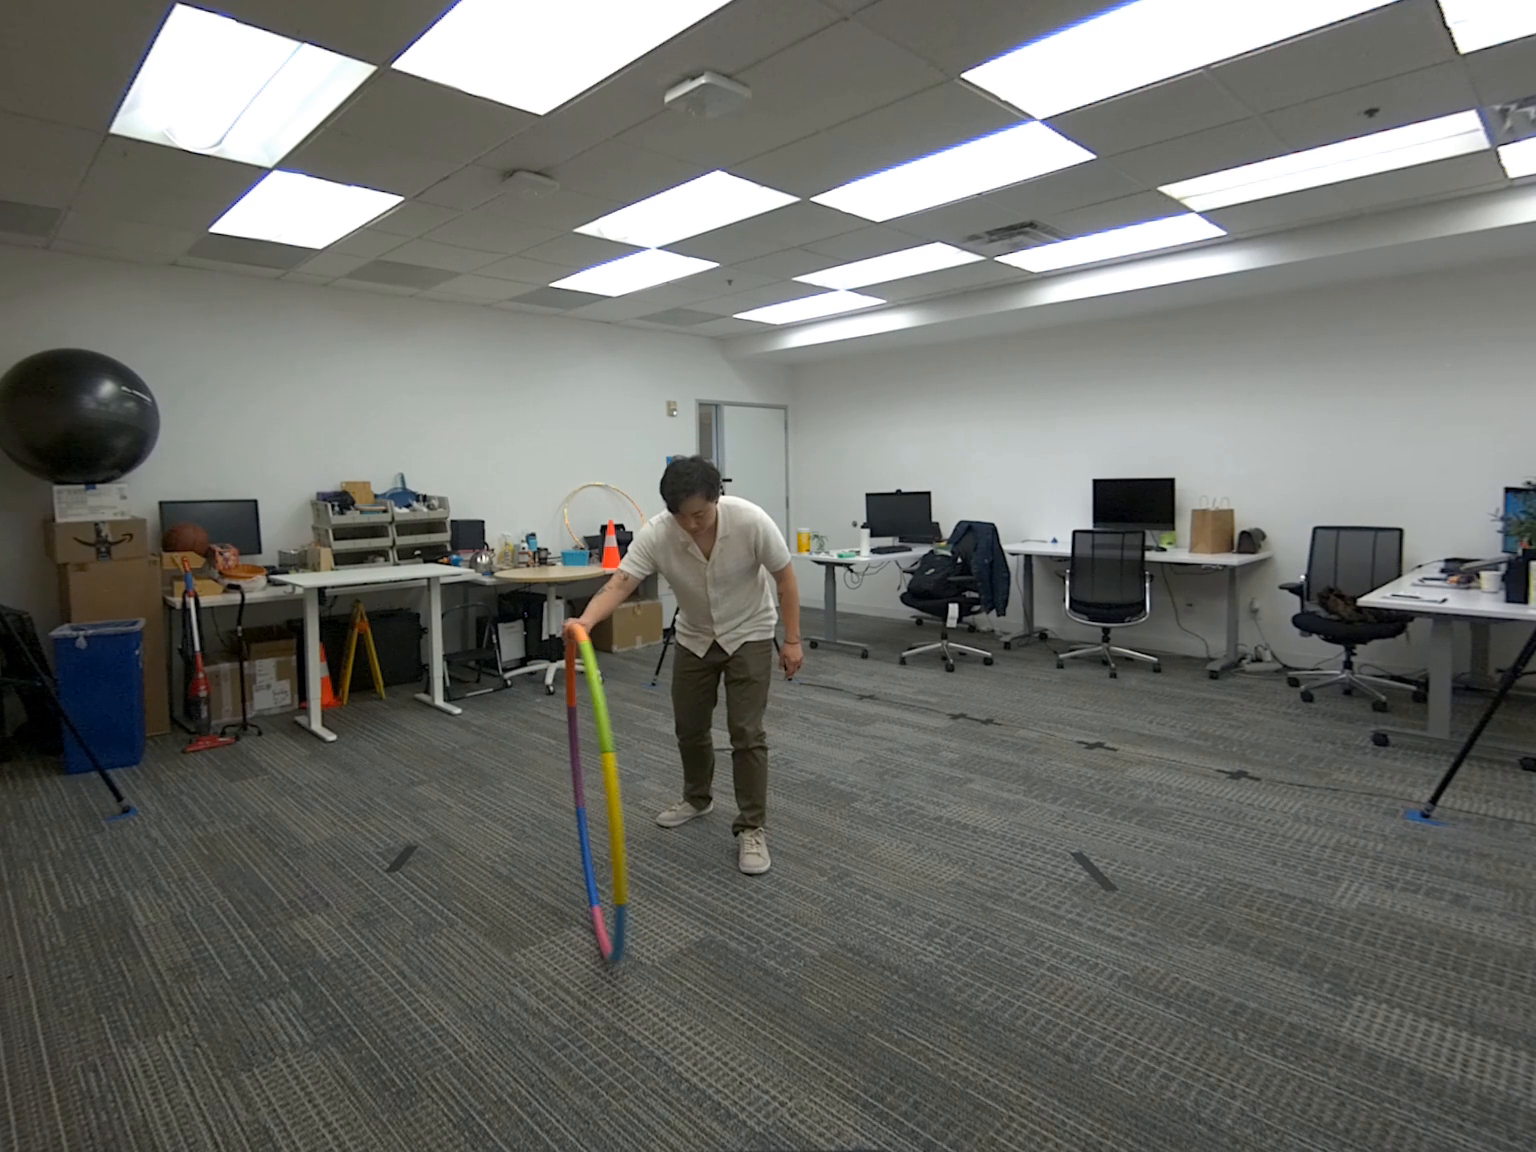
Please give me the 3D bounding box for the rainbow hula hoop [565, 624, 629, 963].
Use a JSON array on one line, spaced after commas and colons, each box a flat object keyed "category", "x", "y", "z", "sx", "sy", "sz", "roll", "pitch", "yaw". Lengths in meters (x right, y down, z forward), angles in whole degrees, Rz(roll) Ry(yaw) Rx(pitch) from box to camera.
[{"category": "rainbow hula hoop", "x": -0.534, "y": 0.637, "z": 2.587, "sx": 0.035, "sy": 0.974, "sz": 0.998, "roll": -5, "pitch": 6, "yaw": -19}]
